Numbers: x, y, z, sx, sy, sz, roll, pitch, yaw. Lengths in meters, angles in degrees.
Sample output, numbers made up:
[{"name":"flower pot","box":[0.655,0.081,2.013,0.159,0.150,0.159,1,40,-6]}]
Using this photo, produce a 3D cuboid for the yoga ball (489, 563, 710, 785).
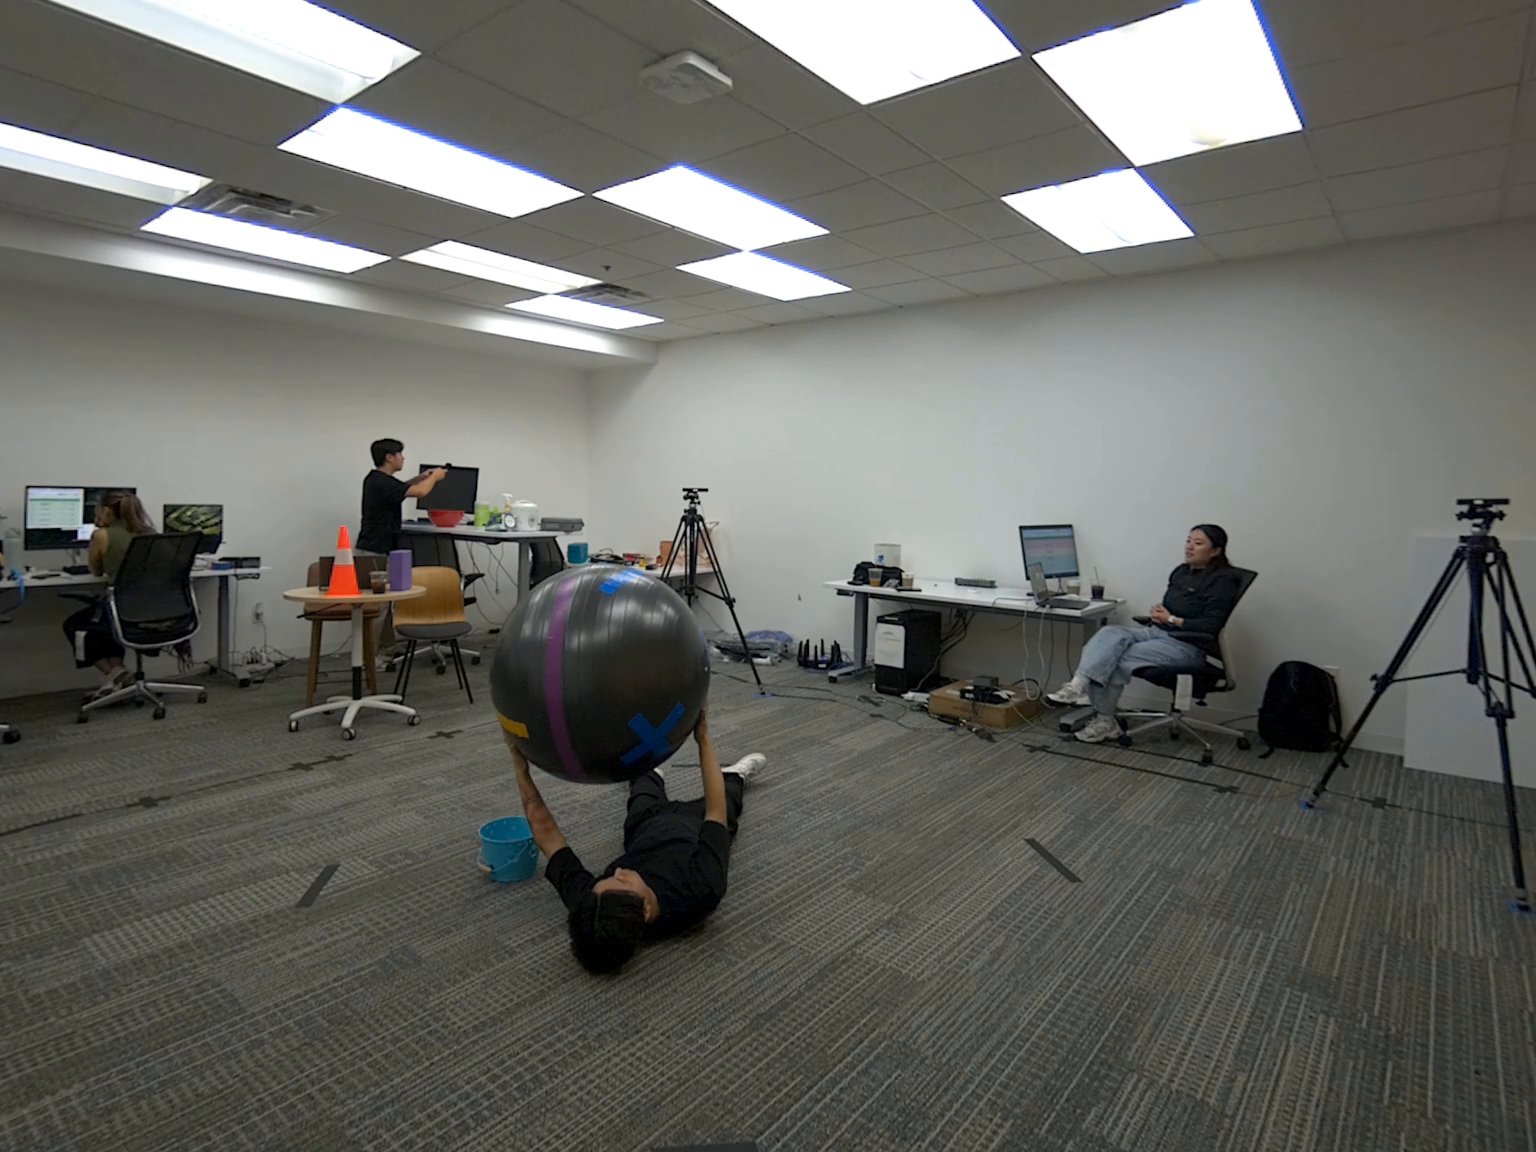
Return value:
[{"name":"yoga ball","box":[-0.592,0.340,2.969,0.757,0.755,0.762,1,4,-2]}]
